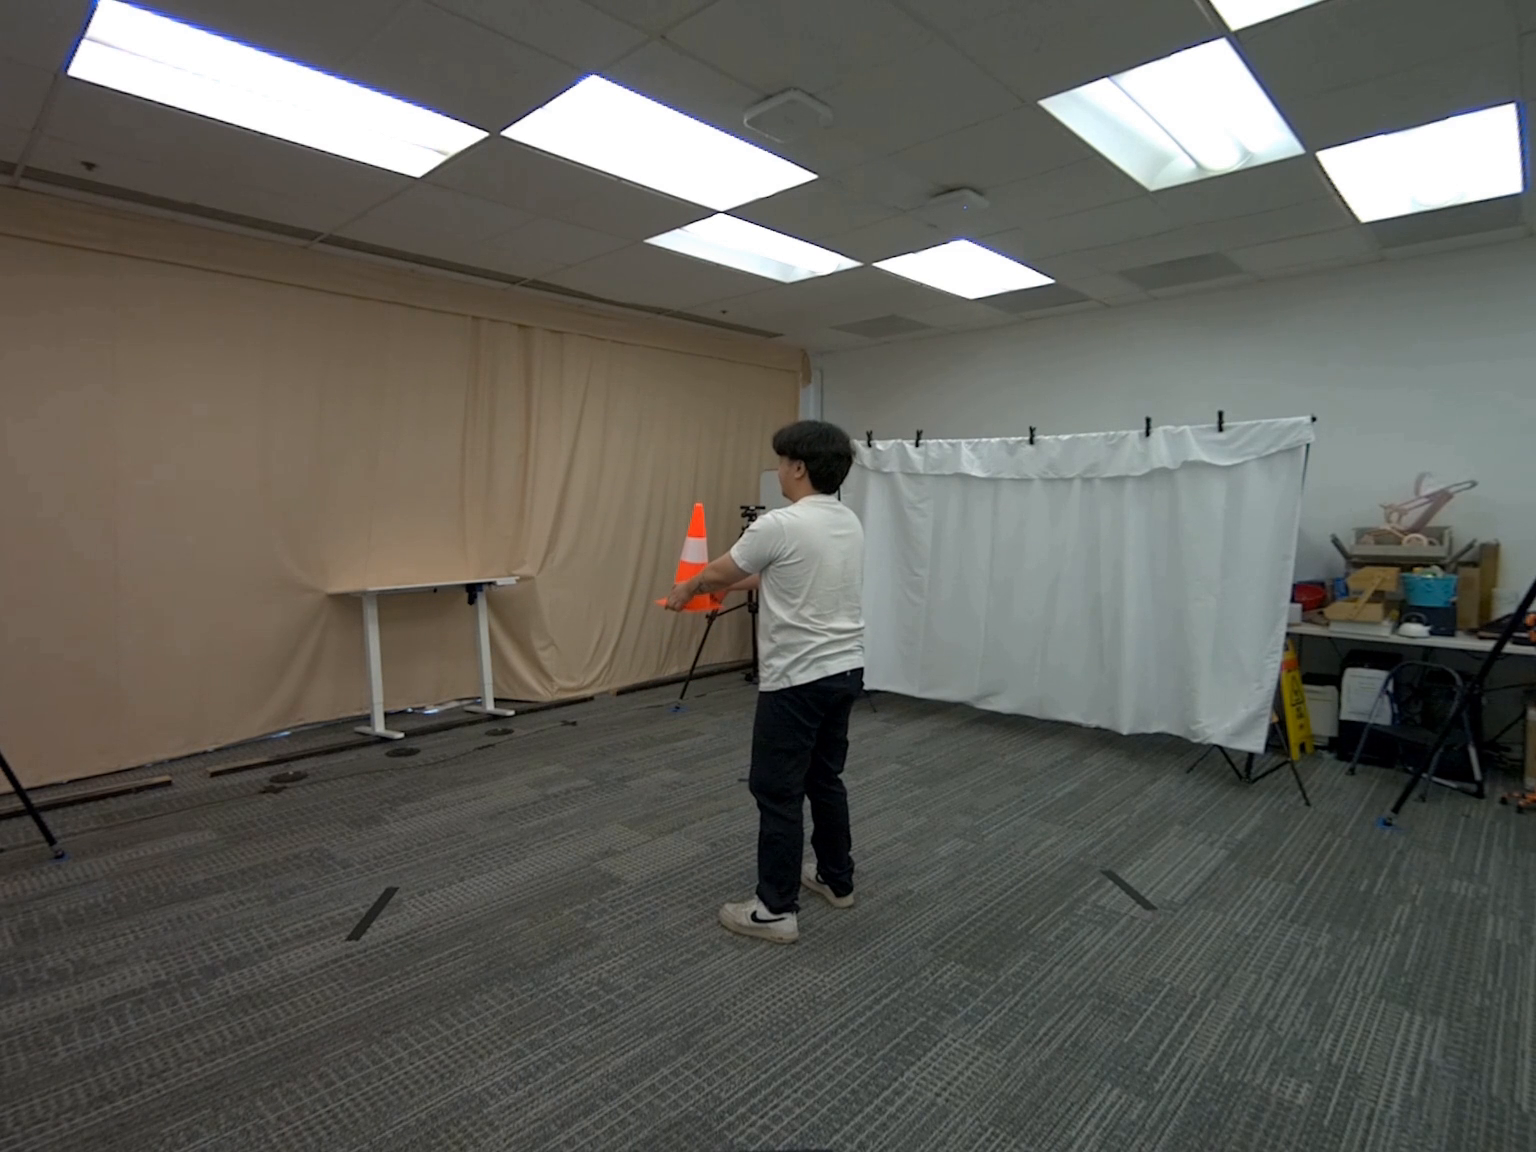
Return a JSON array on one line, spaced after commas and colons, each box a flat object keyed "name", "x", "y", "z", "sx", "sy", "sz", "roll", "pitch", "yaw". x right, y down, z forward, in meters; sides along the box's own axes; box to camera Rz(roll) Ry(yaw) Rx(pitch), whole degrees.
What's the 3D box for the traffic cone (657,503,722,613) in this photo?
[{"name": "traffic cone", "x": -0.280, "y": -0.080, "z": 3.148, "sx": 0.209, "sy": 0.382, "sz": 0.200, "roll": 9, "pitch": 8, "yaw": 28}]
